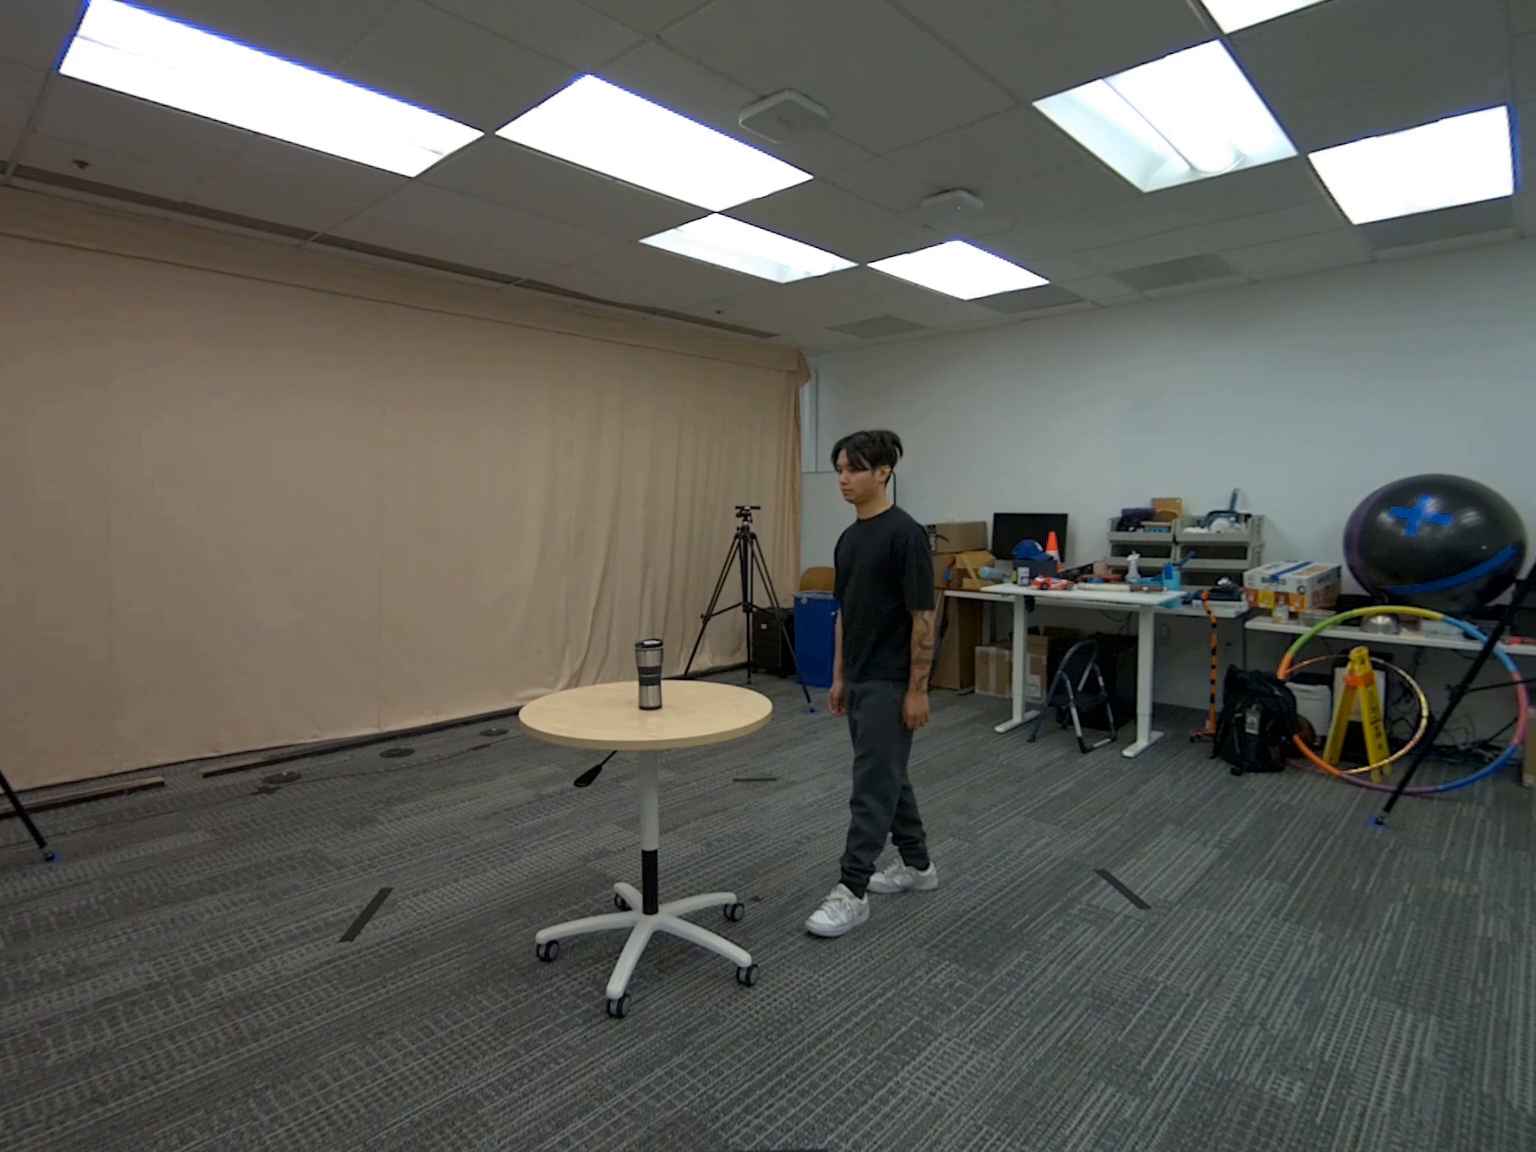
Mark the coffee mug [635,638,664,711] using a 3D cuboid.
[{"bbox_3d":[-0.344,0.300,2.554,0.118,0.202,0.090,-9,4,-43],"label":"coffee mug"}]
